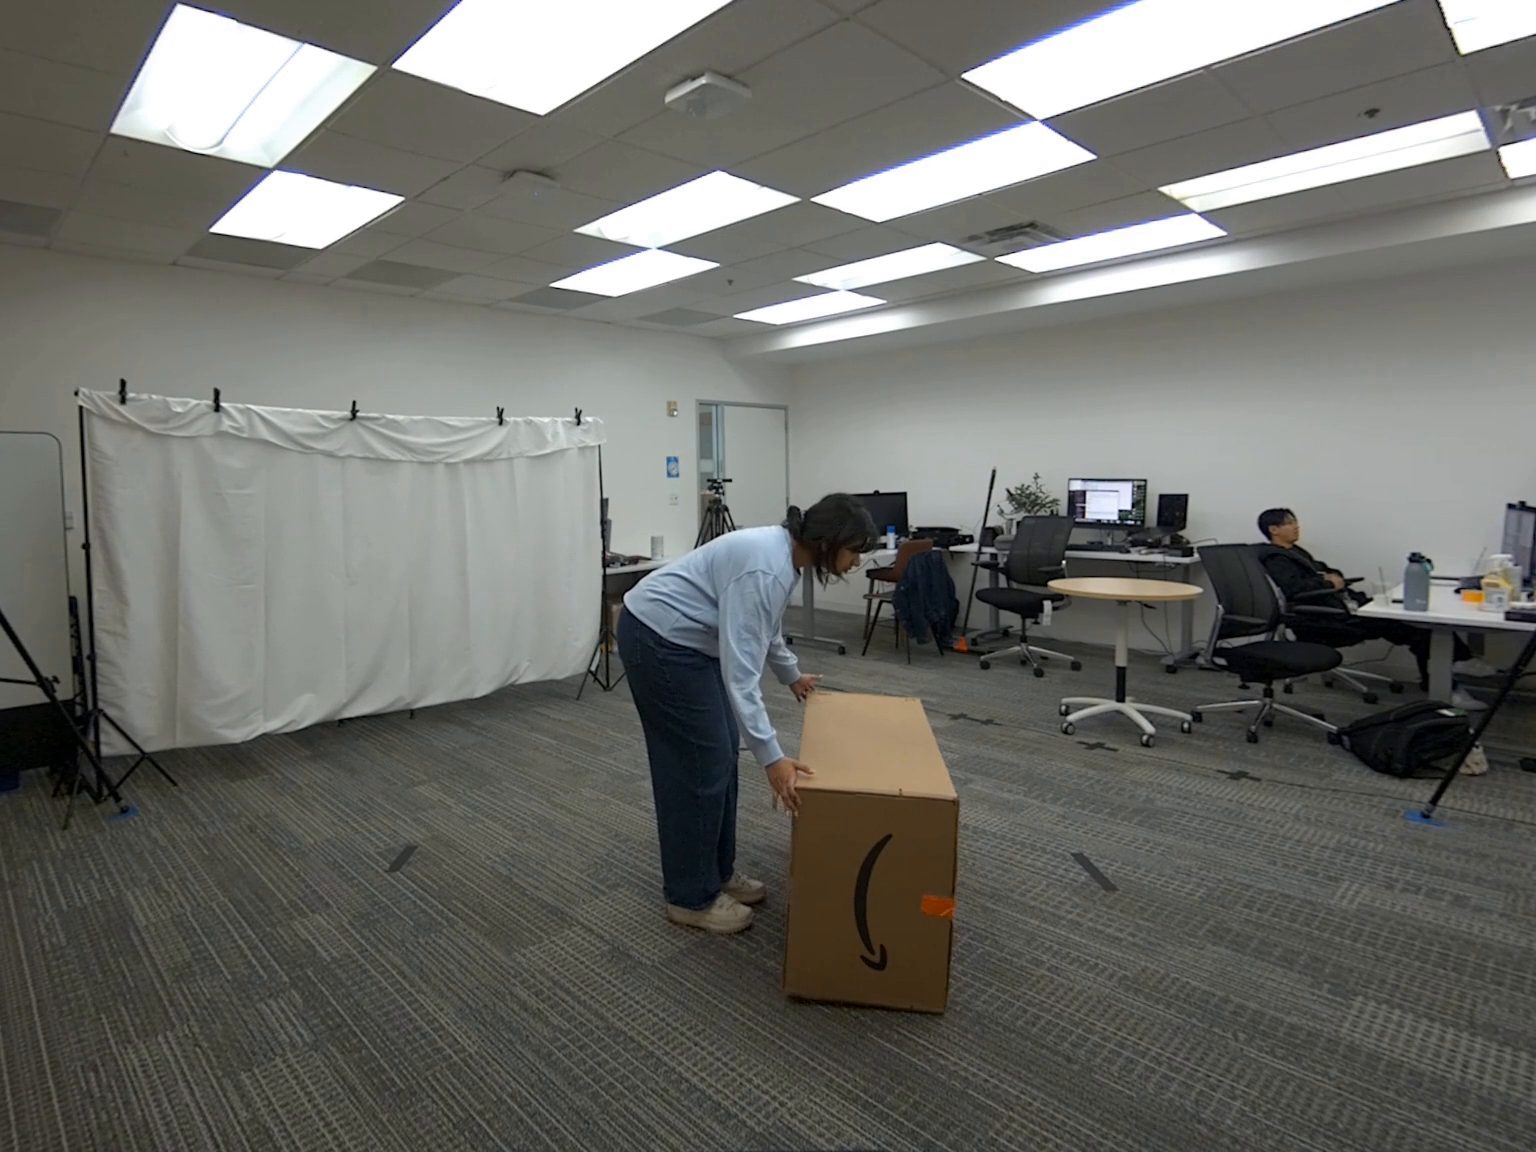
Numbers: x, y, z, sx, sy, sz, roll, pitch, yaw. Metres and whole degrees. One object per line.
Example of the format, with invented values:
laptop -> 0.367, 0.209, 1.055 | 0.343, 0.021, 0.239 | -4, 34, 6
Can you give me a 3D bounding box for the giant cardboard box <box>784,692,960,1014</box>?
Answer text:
giant cardboard box -> 0.311, 0.782, 2.721 | 0.429, 0.575, 1.024 | 3, 6, 5
